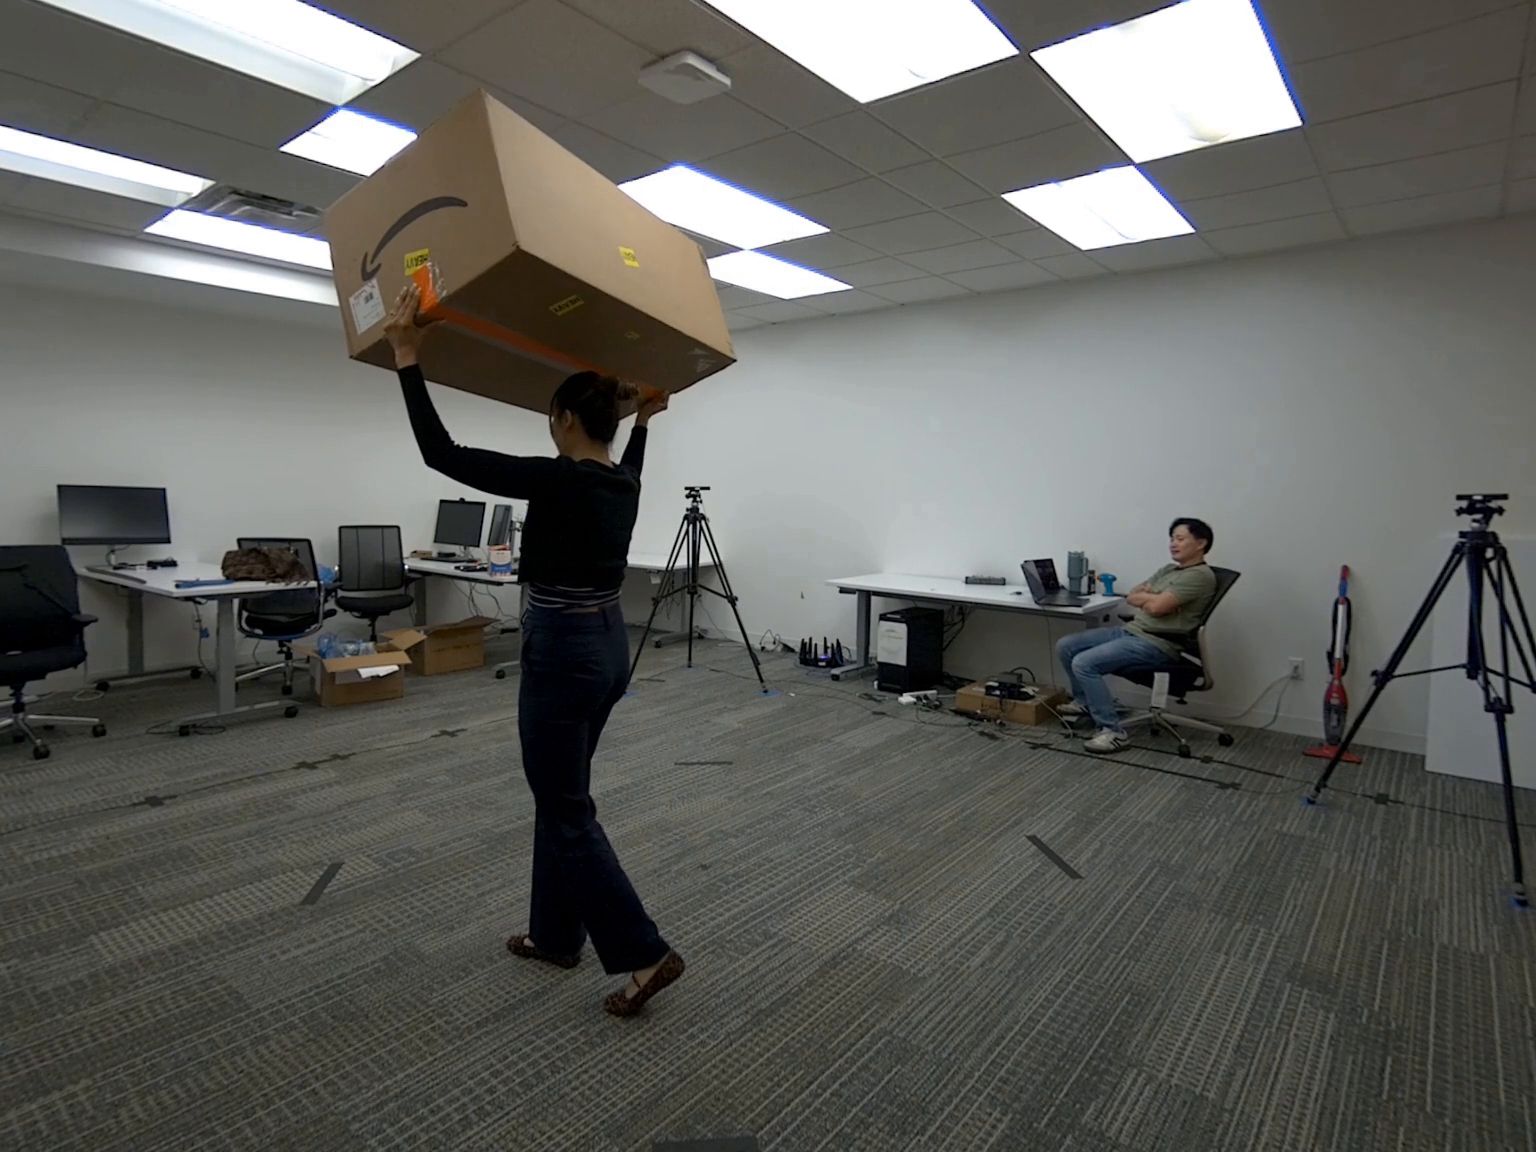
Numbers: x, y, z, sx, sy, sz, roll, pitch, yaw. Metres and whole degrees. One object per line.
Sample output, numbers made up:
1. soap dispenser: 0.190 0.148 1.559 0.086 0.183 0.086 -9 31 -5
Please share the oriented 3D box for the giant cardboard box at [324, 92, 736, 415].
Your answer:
1. giant cardboard box: -0.622 -0.799 2.442 0.586 0.432 0.997 -21 -11 25
